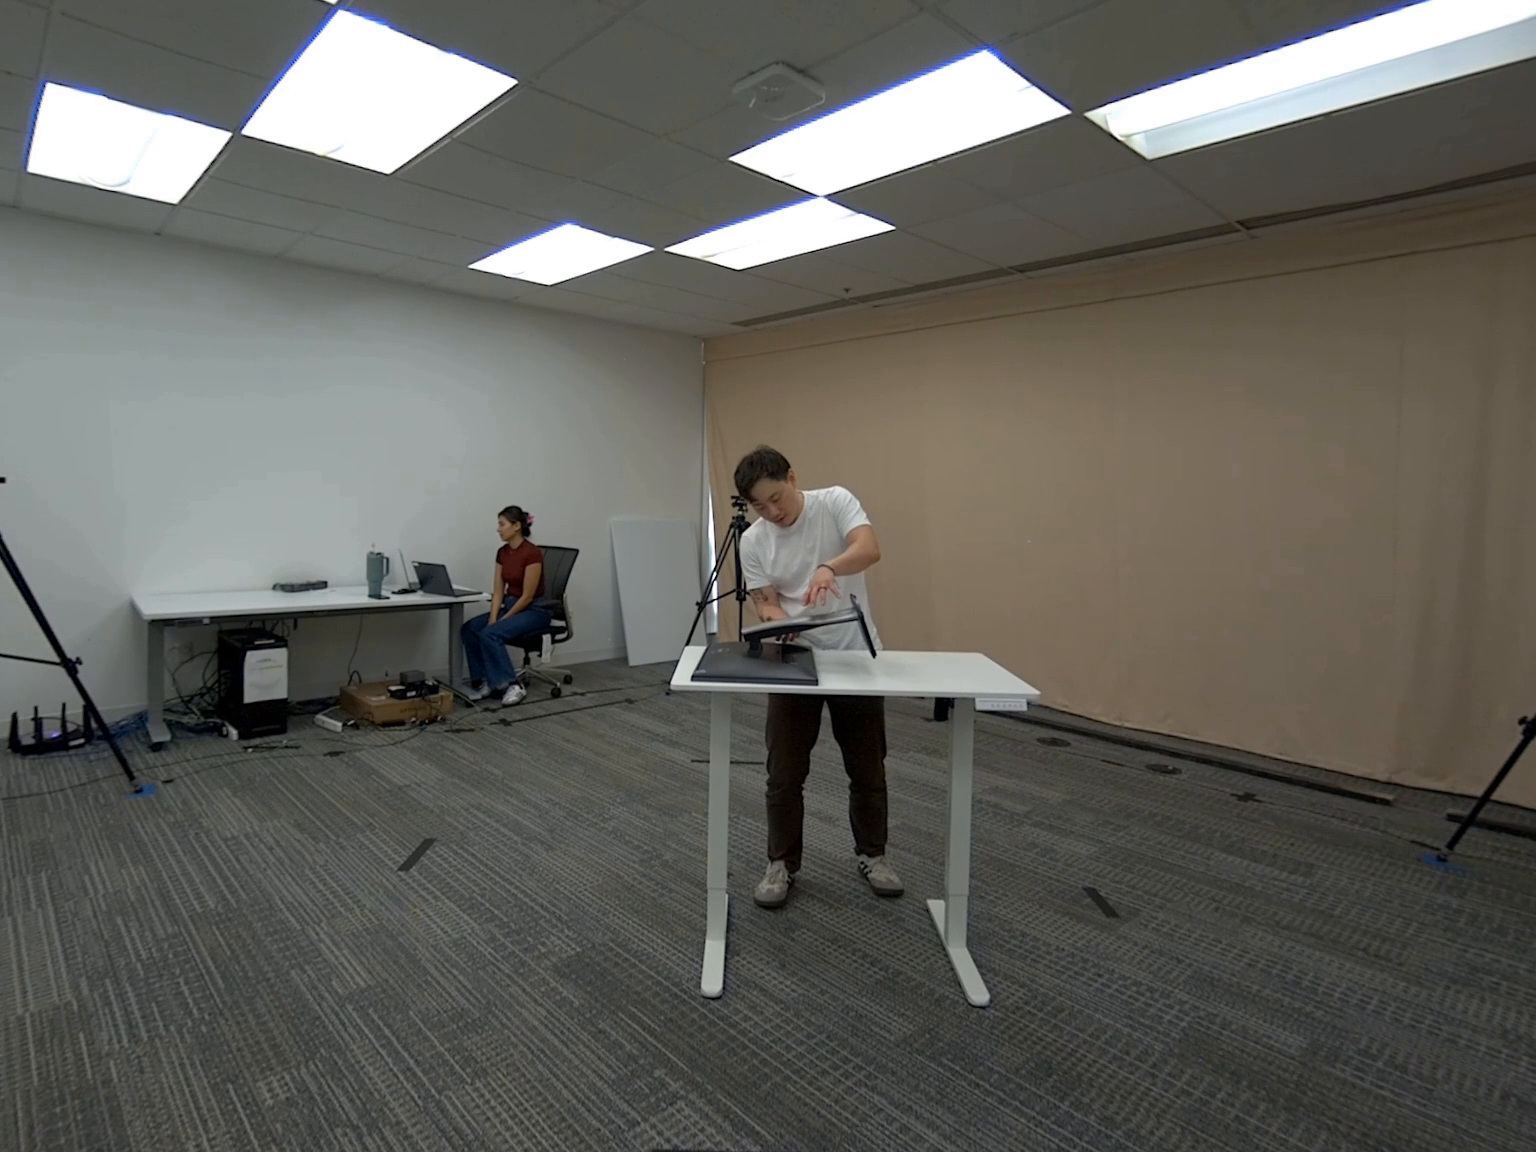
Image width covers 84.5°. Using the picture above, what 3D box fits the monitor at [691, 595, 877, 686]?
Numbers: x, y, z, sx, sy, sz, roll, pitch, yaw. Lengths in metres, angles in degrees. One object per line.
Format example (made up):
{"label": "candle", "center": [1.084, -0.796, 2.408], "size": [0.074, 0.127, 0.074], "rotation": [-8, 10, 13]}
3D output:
{"label": "monitor", "center": [0.036, 0.215, 2.560], "size": [0.523, 0.187, 0.539], "rotation": [-17, 4, 3]}
